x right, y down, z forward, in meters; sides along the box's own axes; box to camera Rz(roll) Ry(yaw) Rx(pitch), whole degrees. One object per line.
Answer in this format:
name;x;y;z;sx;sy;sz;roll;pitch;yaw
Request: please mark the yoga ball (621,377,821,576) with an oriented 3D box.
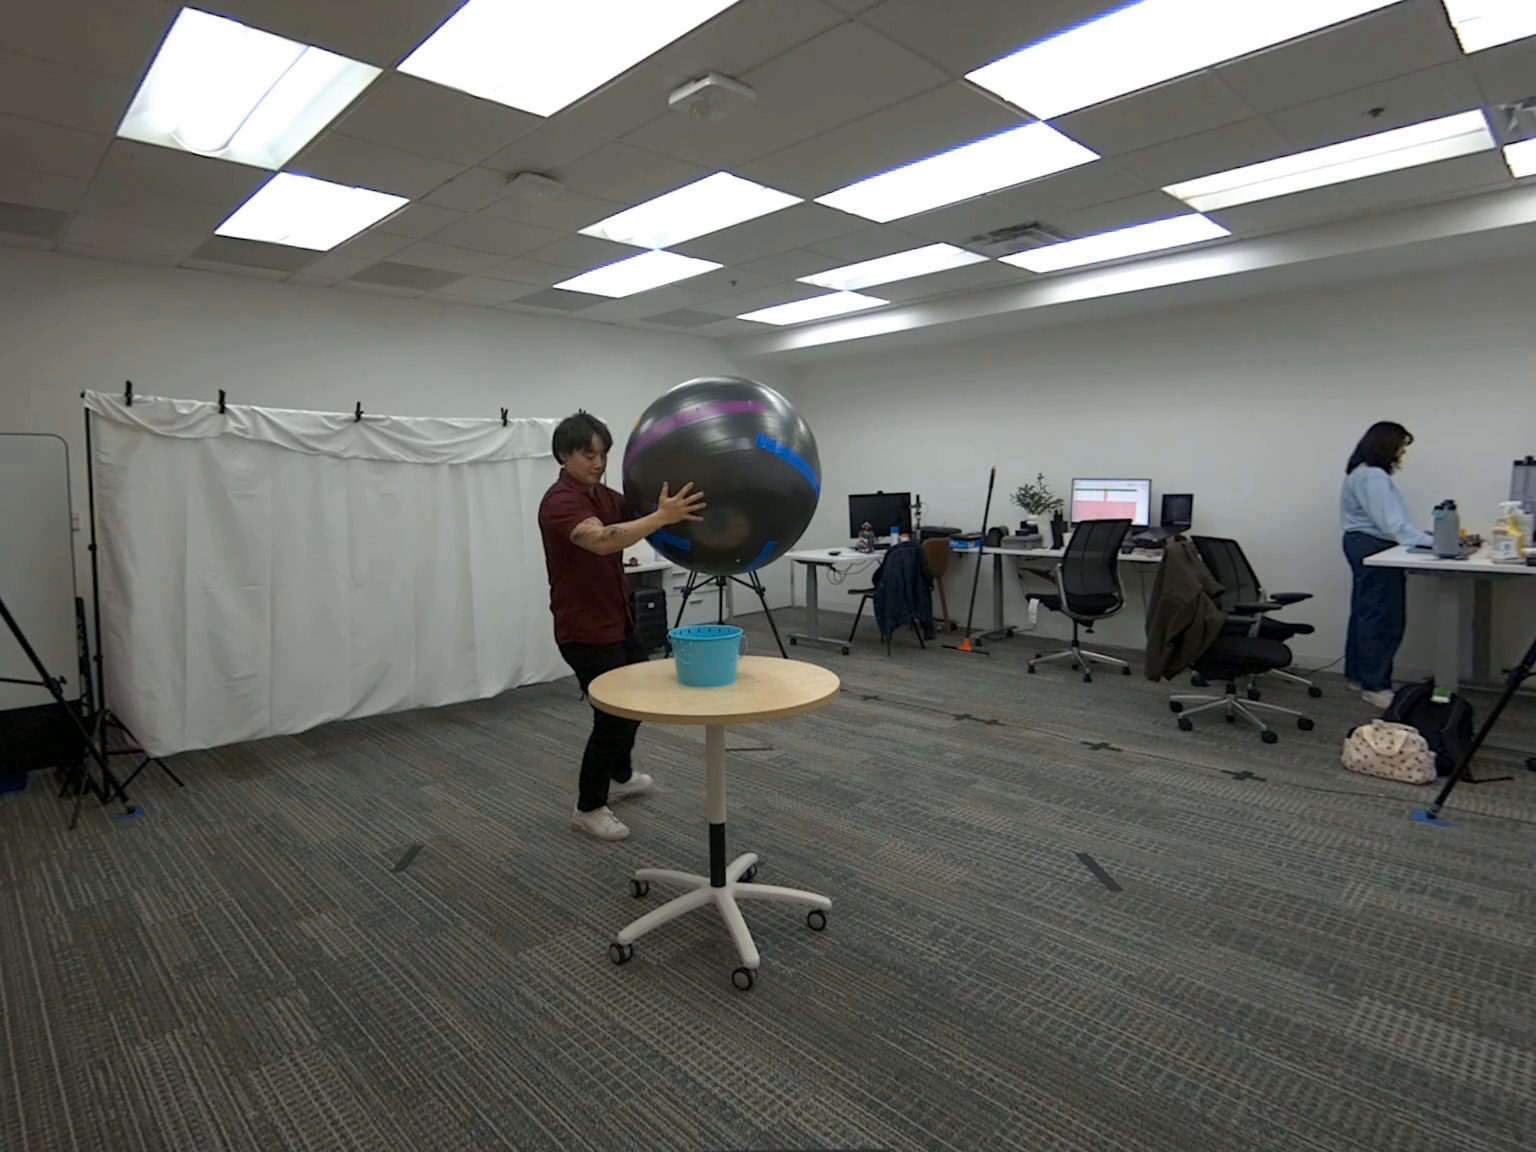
yoga ball;-0.178;-0.380;3.271;0.757;0.755;0.762;-1;5;-2
